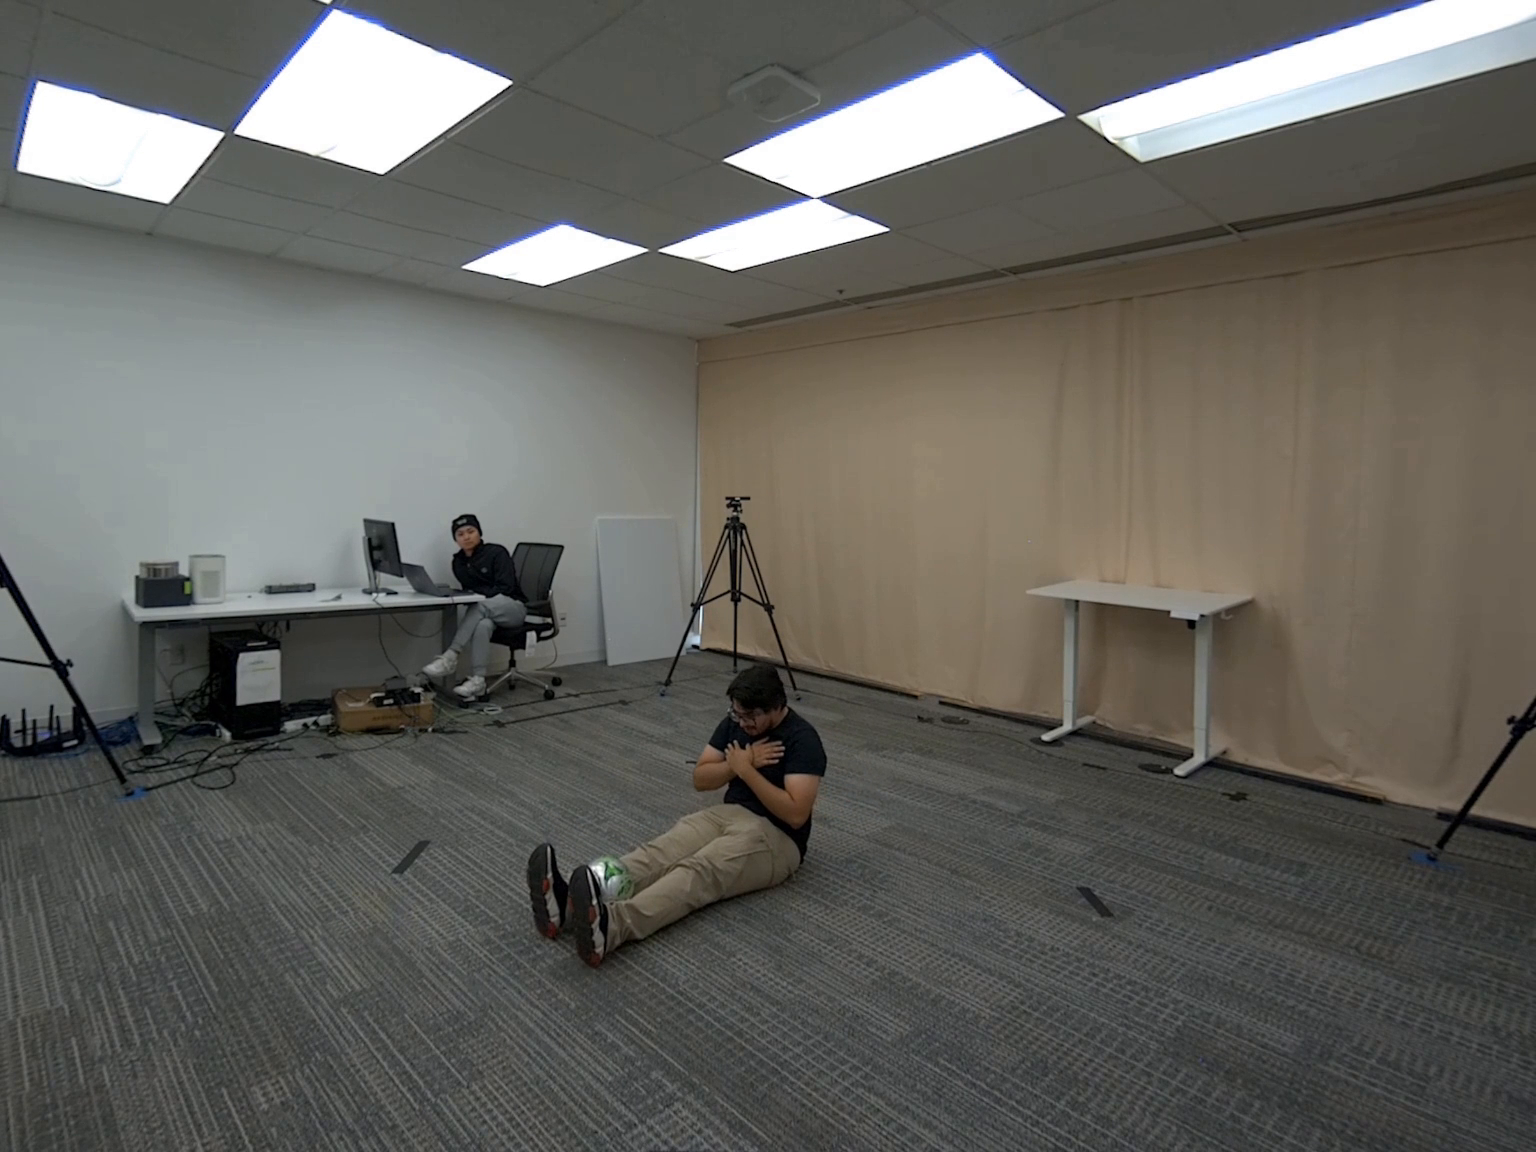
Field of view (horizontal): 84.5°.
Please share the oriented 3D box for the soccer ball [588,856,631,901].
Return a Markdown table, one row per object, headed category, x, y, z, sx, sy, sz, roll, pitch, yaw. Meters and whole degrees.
| category | x | y | z | sx | sy | sz | roll | pitch | yaw |
| --- | --- | --- | --- | --- | --- | --- | --- | --- | --- |
| soccer ball | -0.527 | 0.998 | 2.670 | 0.187 | 0.187 | 0.188 | 1 | 5 | -1 |
